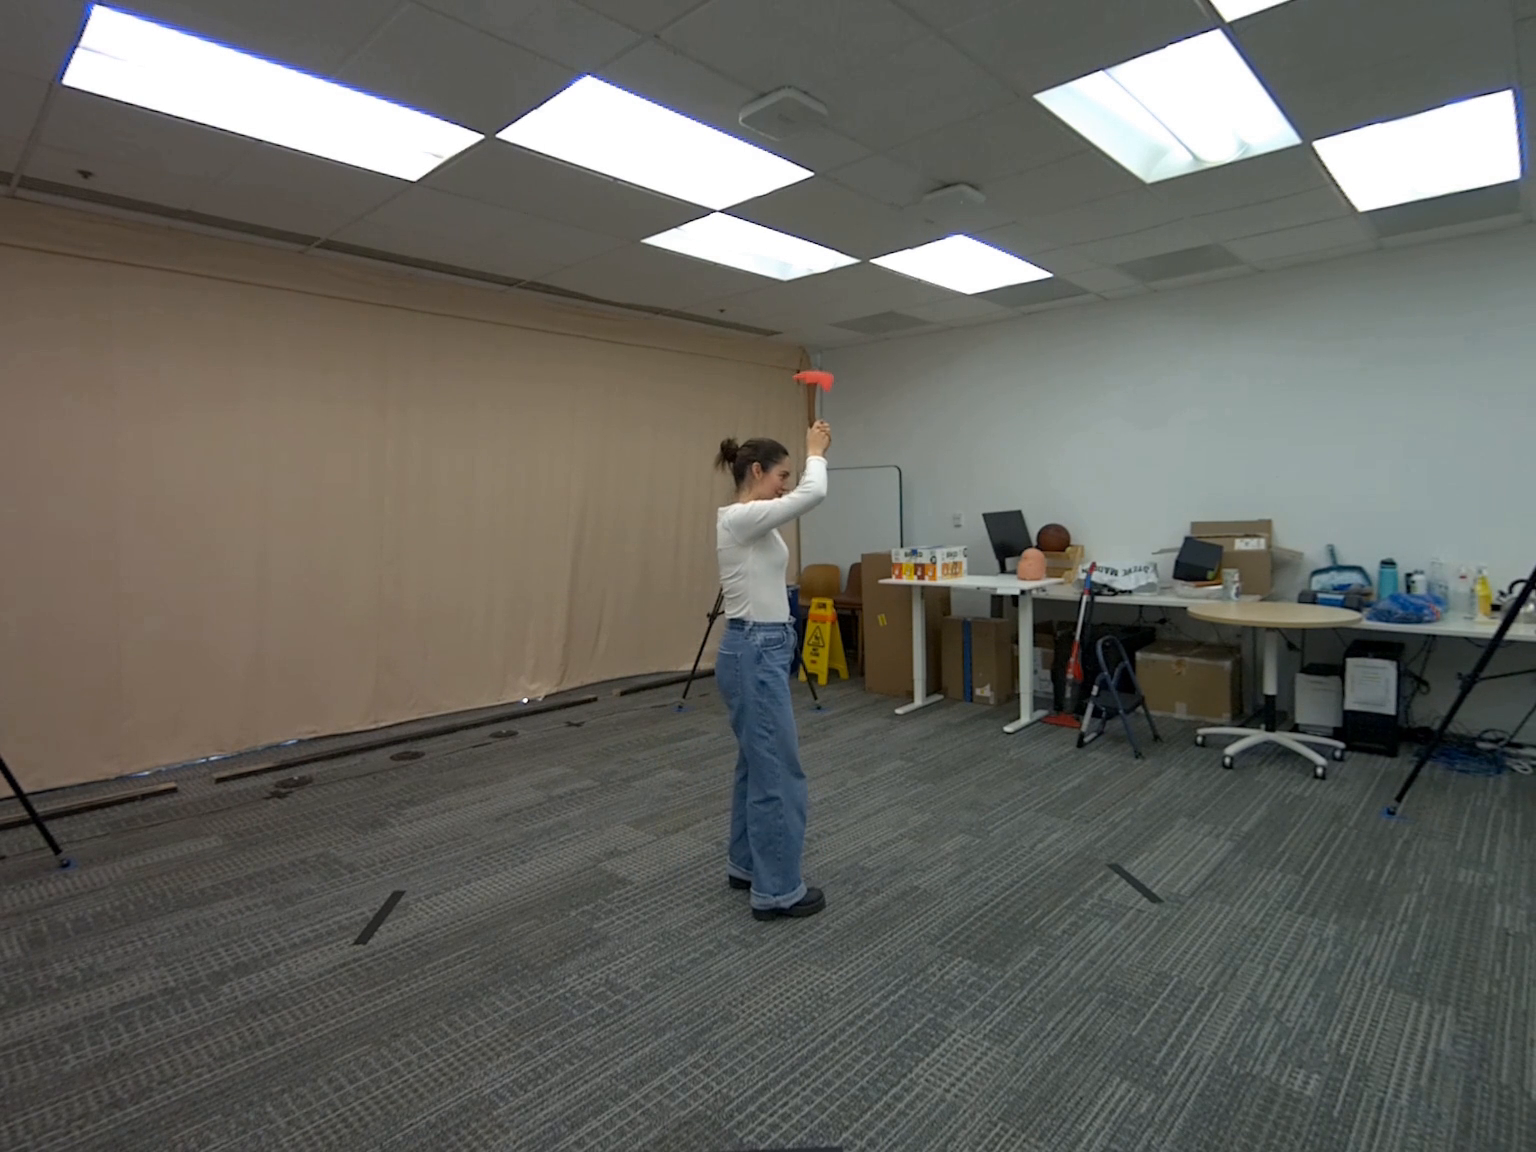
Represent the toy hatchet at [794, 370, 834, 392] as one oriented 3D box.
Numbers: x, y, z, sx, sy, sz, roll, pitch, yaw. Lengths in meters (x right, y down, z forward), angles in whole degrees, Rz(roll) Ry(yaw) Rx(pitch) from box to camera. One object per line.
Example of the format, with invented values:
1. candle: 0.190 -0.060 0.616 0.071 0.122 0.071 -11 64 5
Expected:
1. toy hatchet: 0.189 -0.588 2.895 0.132 0.270 0.029 -16 0 12
